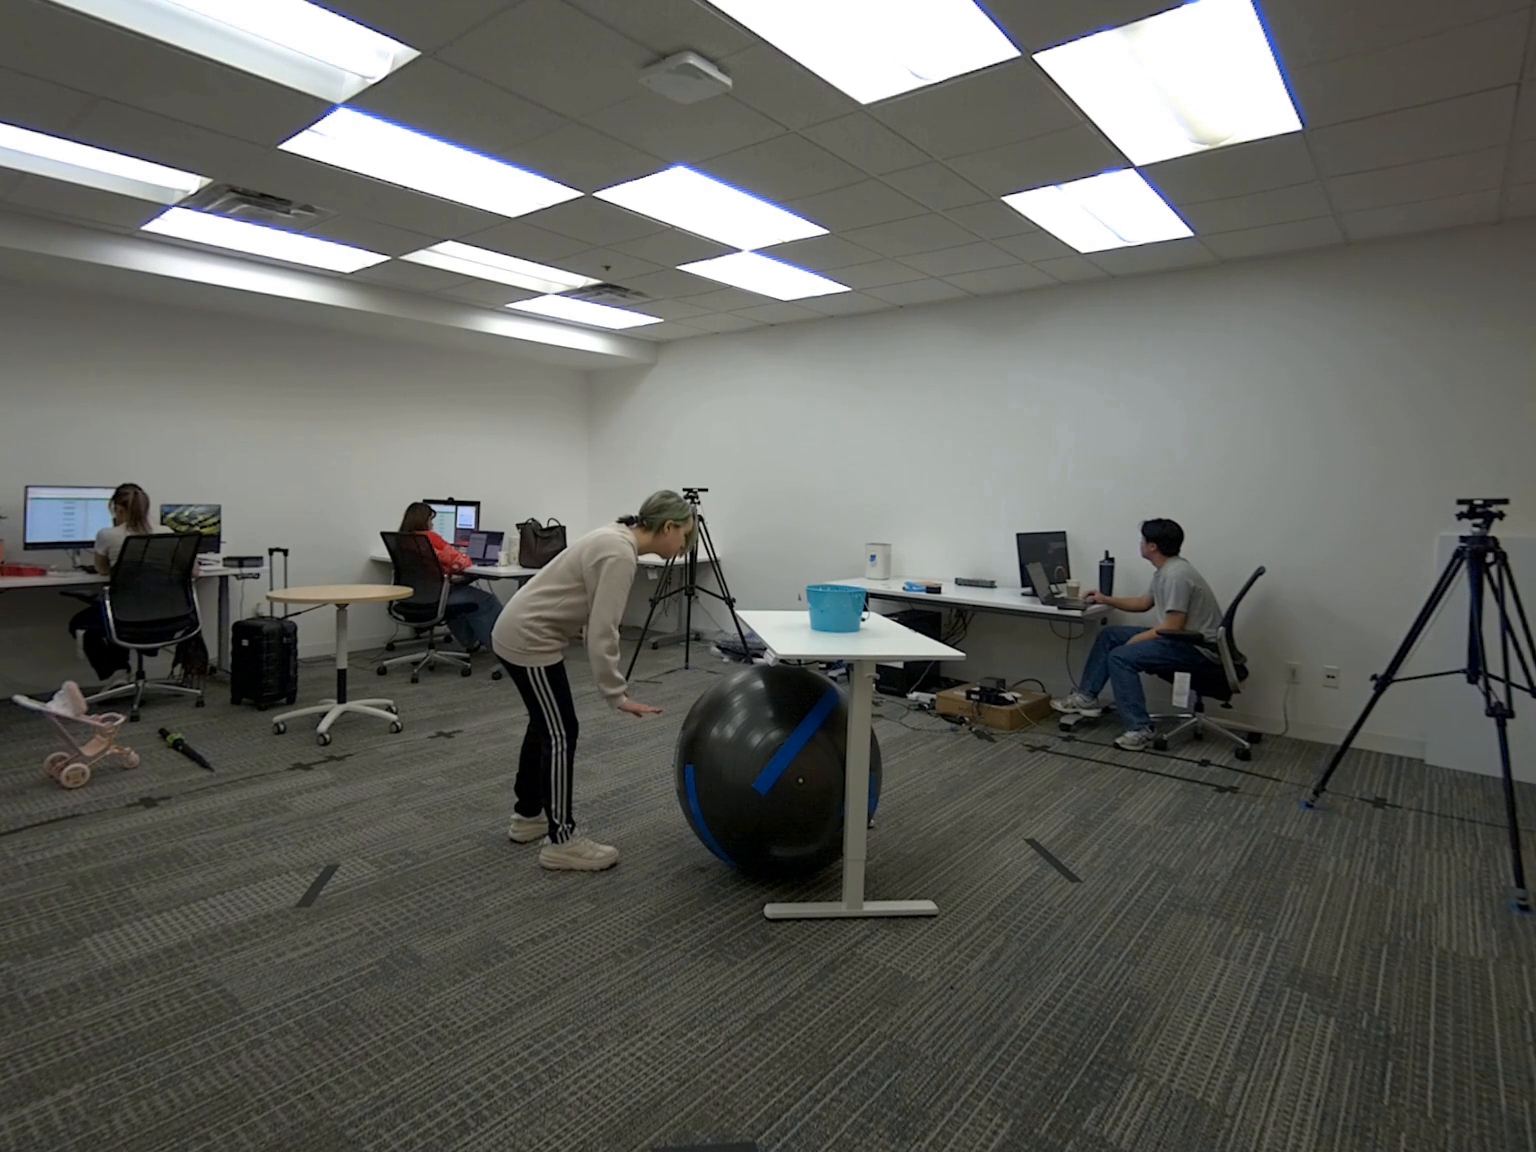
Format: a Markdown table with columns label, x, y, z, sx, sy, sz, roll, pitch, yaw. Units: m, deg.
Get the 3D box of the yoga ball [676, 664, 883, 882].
| label | x | y | z | sx | sy | sz | roll | pitch | yaw |
| --- | --- | --- | --- | --- | --- | --- | --- | --- | --- |
| yoga ball | 0.027 | 0.706 | 3.117 | 0.757 | 0.755 | 0.762 | 1 | 4 | -2 |
